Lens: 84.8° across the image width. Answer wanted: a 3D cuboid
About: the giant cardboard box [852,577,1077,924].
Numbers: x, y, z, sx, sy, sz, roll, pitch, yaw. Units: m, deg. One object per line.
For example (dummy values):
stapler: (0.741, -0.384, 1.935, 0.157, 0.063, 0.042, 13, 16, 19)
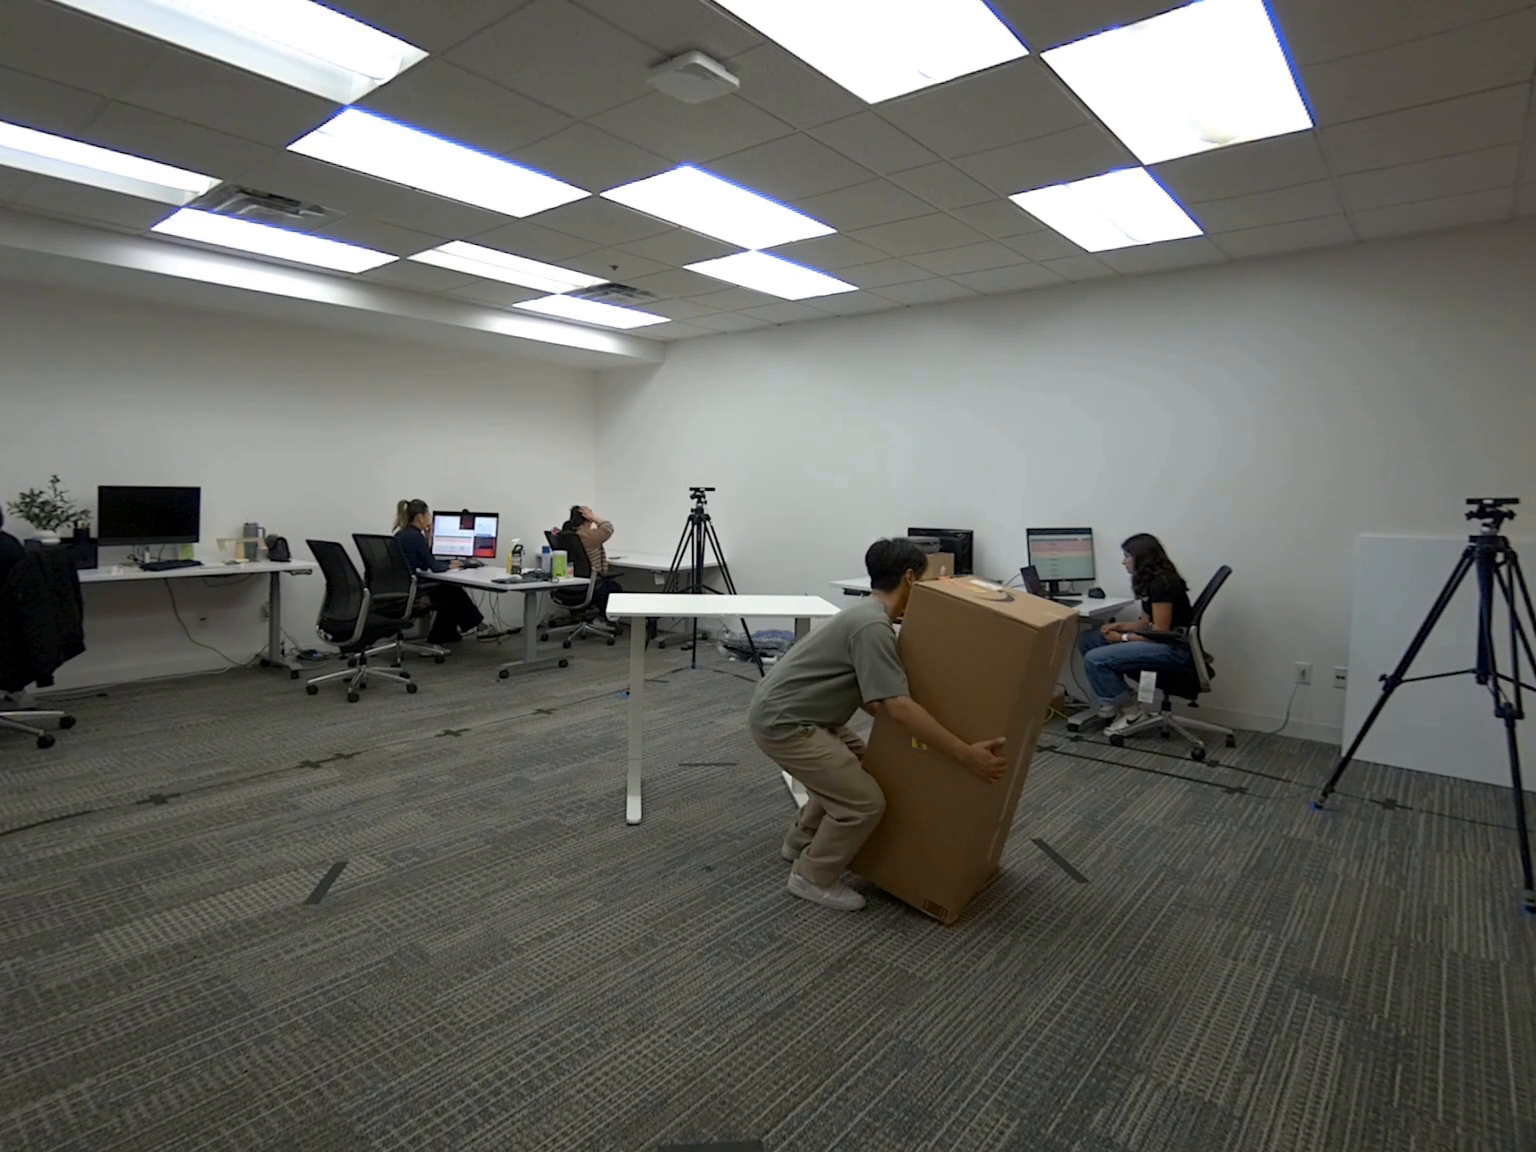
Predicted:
giant cardboard box: (0.664, 0.556, 2.984, 0.441, 1.018, 0.561, 20, 12, 30)
